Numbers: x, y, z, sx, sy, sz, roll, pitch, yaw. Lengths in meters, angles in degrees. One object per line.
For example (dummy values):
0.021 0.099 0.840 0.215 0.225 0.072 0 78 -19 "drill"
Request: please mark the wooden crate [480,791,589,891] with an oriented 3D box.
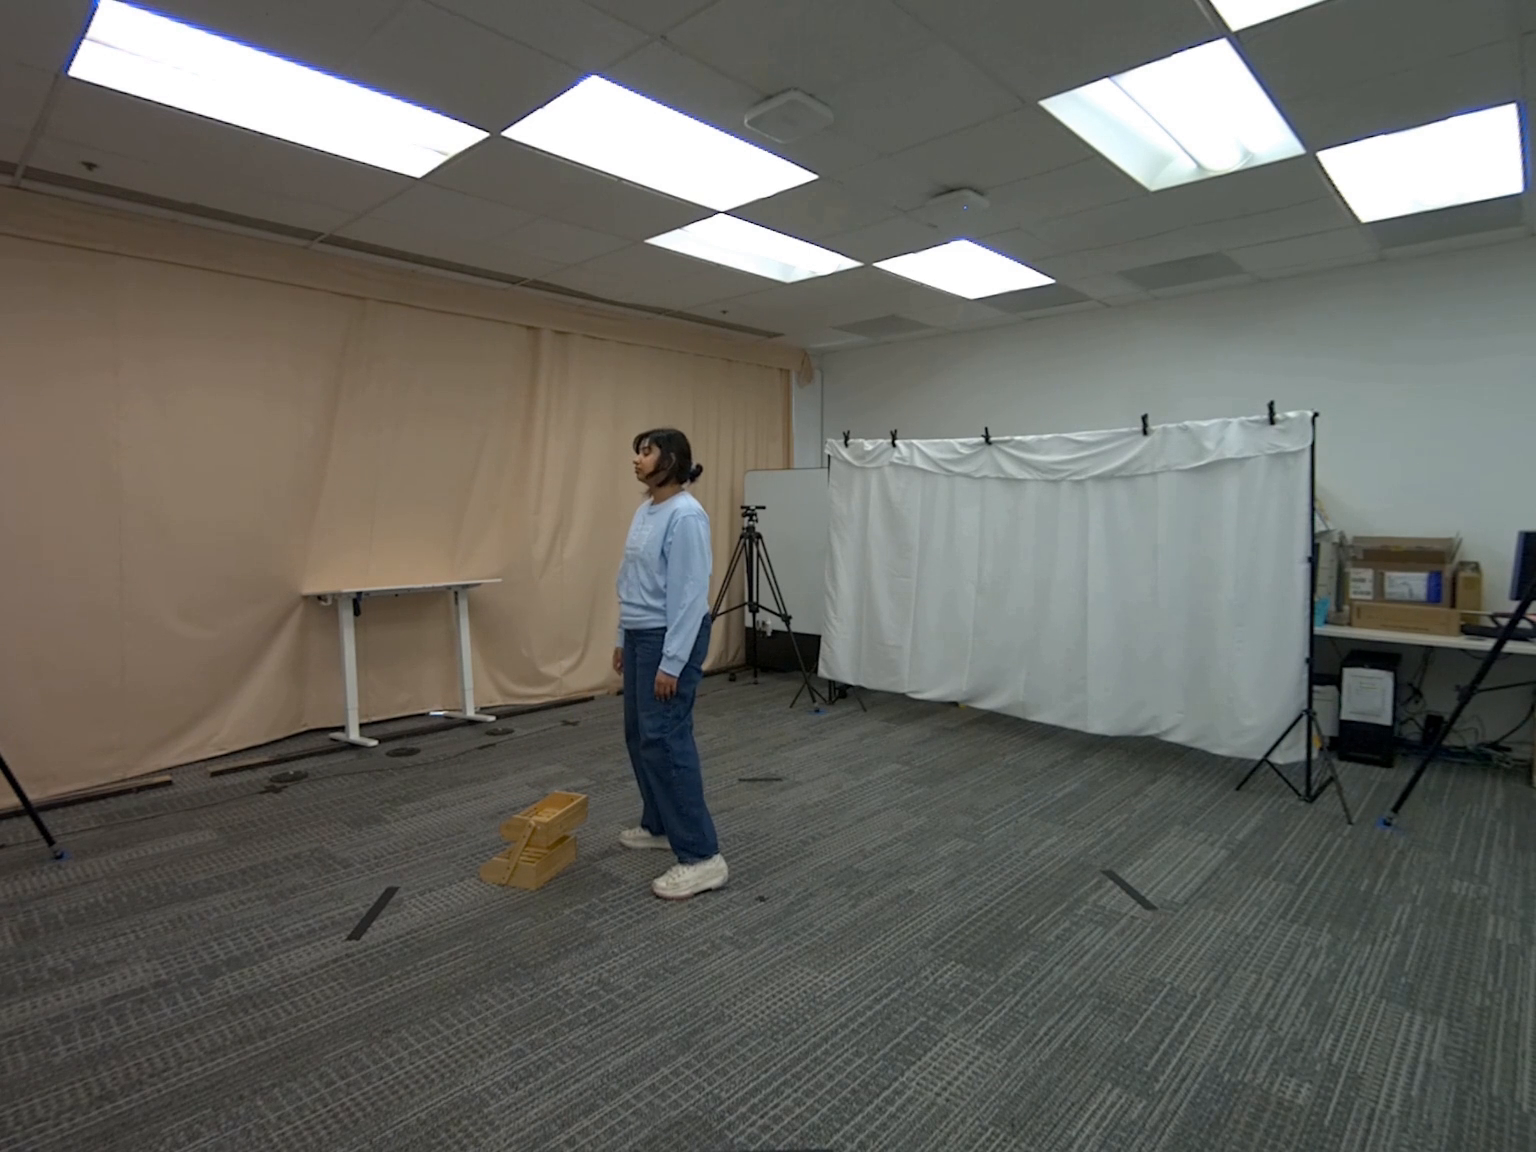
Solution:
-0.903 1.002 3.233 0.308 0.272 0.319 2 5 19 "wooden crate"
